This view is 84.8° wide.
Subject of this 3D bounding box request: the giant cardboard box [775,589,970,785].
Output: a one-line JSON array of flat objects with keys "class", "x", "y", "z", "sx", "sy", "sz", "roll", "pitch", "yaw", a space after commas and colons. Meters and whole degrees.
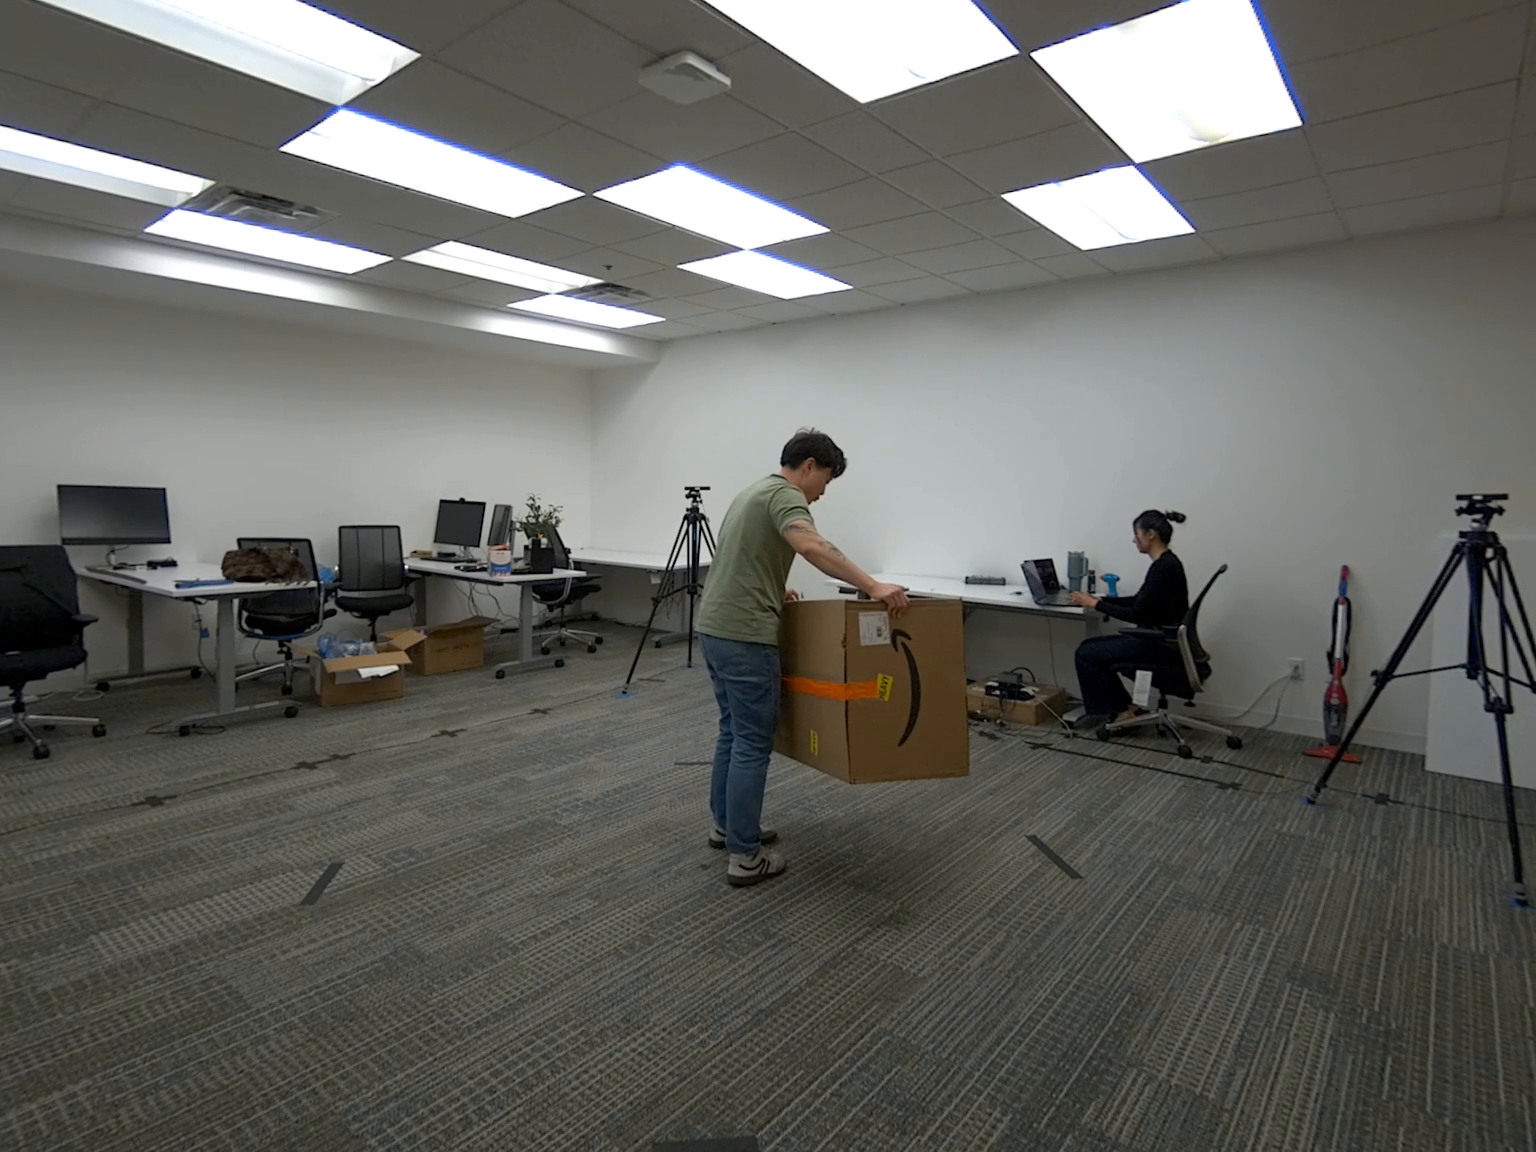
[{"class": "giant cardboard box", "x": 0.267, "y": 0.379, "z": 3.196, "sx": 0.418, "sy": 0.580, "sz": 1.040, "roll": 1, "pitch": -3, "yaw": -19}]
